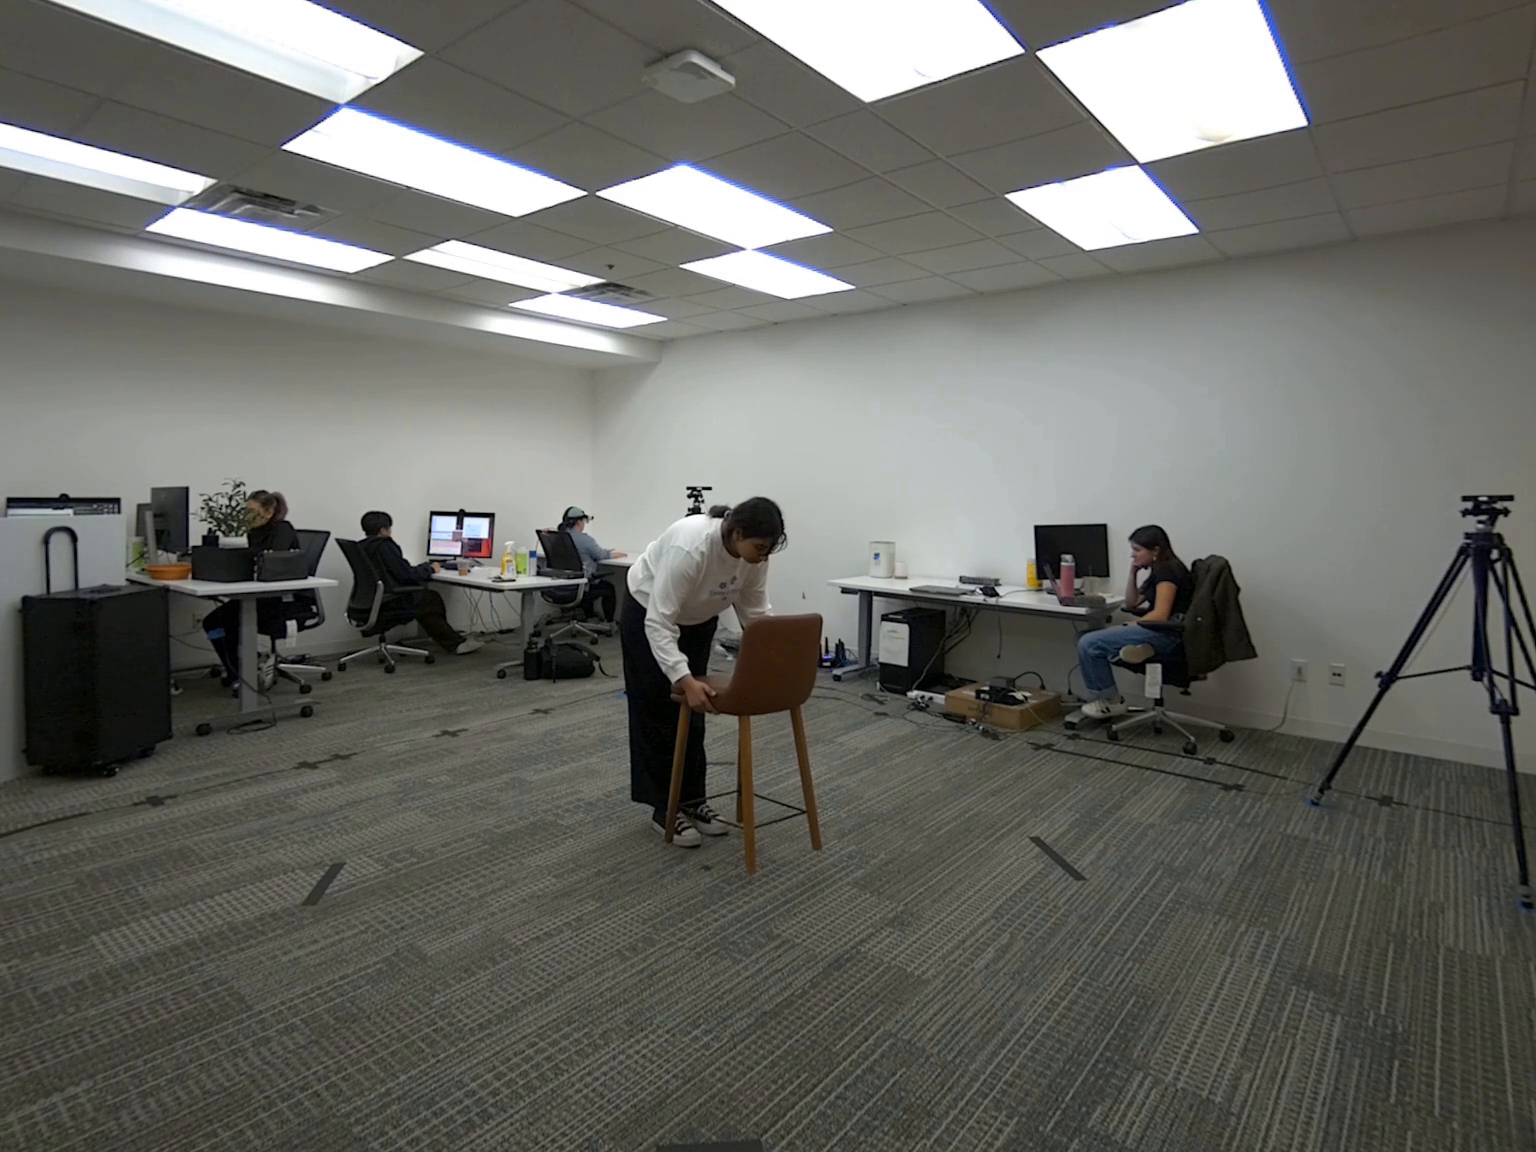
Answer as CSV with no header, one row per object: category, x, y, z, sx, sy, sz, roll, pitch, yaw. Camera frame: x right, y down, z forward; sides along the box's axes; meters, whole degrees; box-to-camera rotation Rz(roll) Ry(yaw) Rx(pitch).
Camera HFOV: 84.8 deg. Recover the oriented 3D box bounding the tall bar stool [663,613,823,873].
tall bar stool,-0.083,0.568,3.181,0.442,0.890,0.483,1,0,-44
